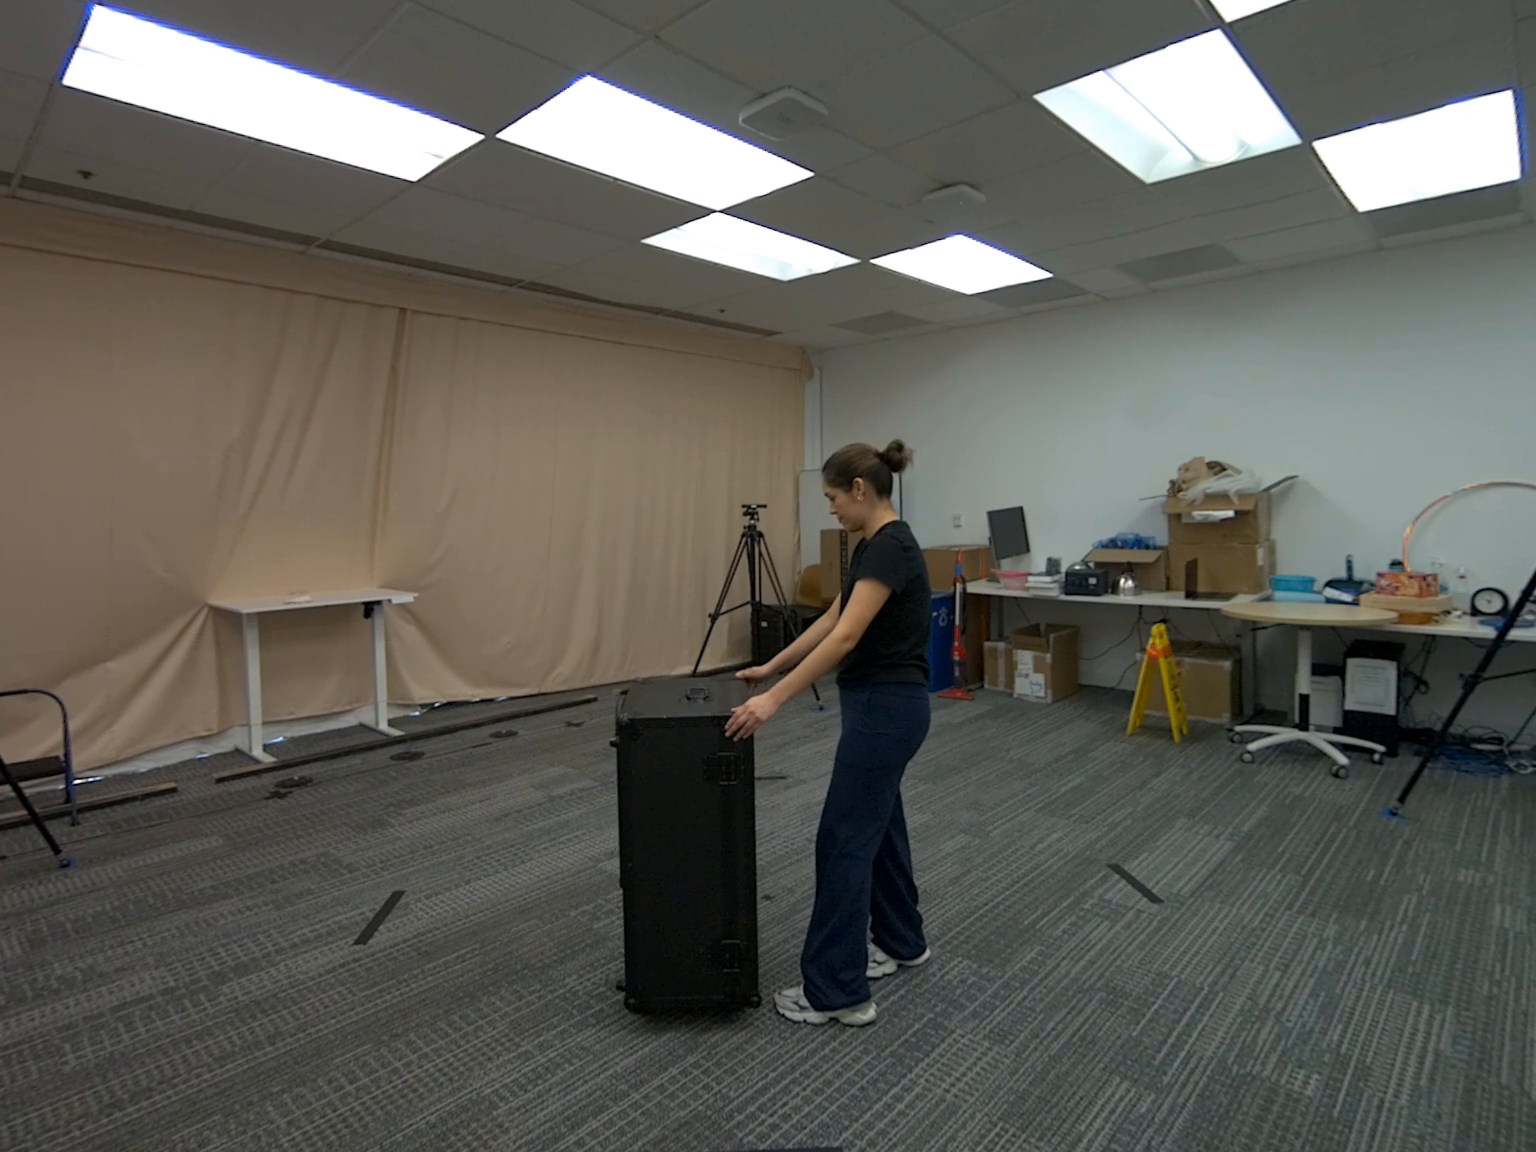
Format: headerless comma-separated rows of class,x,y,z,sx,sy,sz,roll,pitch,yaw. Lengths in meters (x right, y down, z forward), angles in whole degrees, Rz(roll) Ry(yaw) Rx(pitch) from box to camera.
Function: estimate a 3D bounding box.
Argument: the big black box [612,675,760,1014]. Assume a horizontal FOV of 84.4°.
big black box,-0.215,0.770,2.431,0.395,0.860,0.524,-2,3,-3
